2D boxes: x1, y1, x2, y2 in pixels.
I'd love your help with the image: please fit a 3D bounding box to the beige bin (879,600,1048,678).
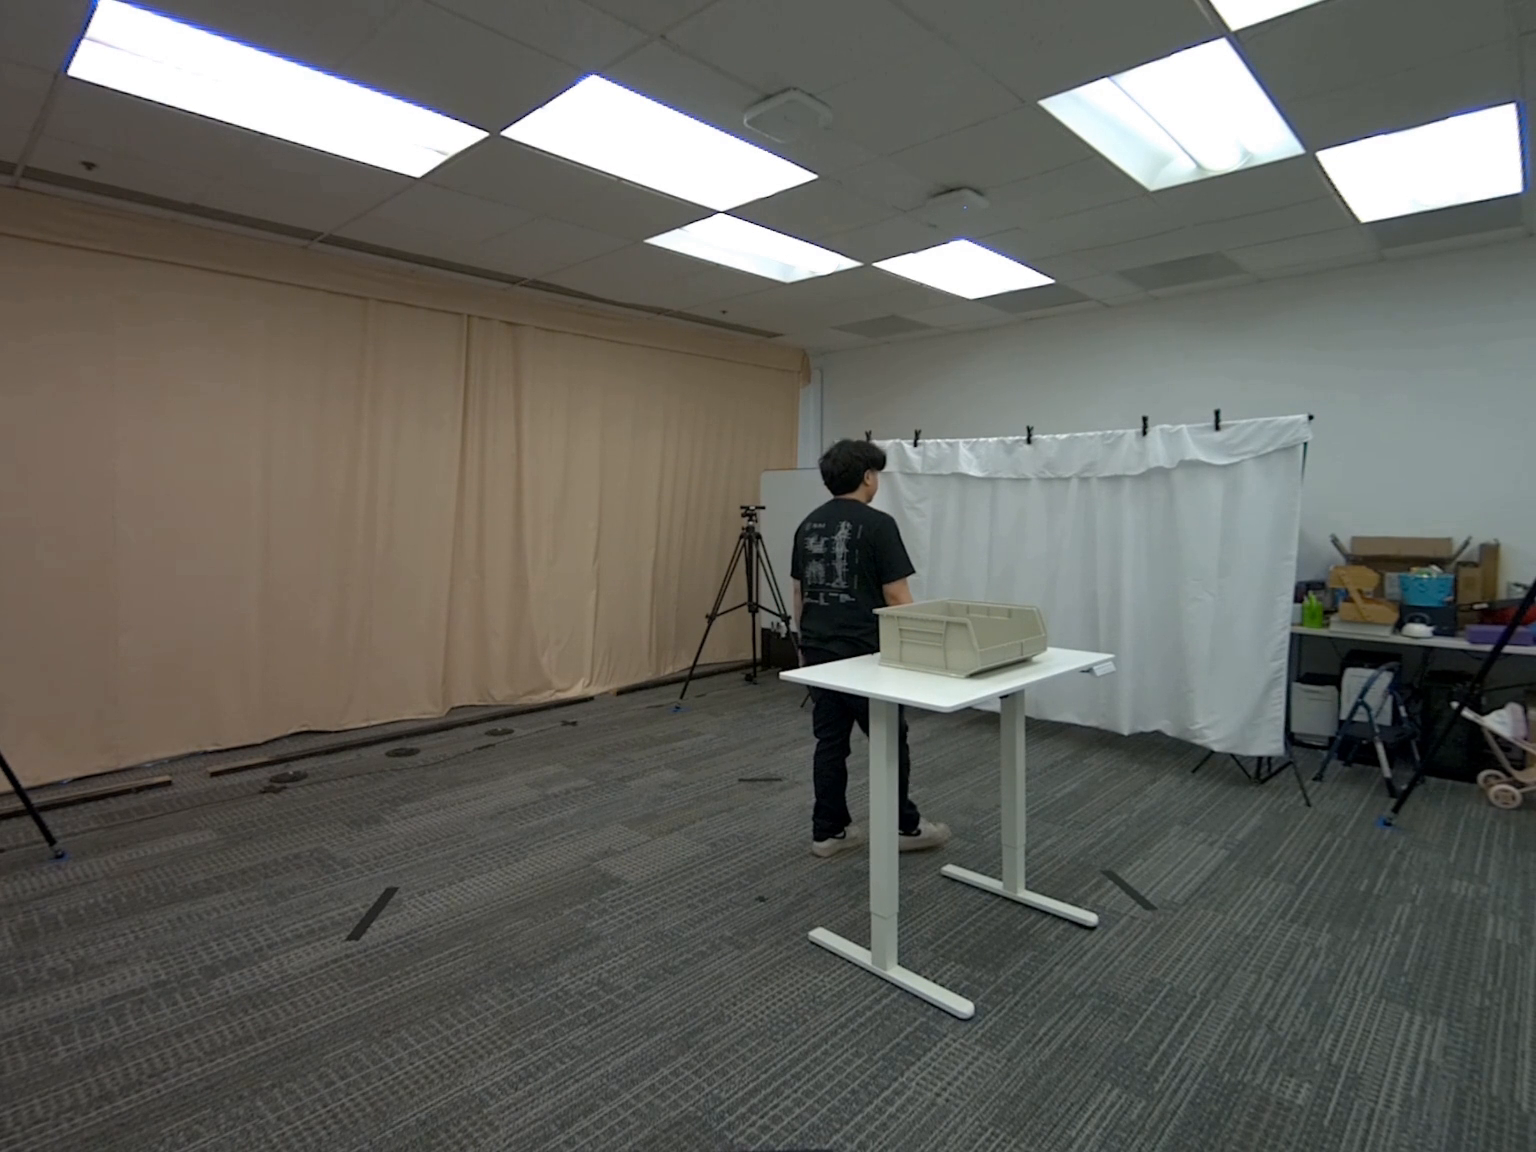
[{"bbox_3d":[0.626,0.194,2.704,0.409,0.188,0.390,-5,5,-44],"label":"beige bin"}]
